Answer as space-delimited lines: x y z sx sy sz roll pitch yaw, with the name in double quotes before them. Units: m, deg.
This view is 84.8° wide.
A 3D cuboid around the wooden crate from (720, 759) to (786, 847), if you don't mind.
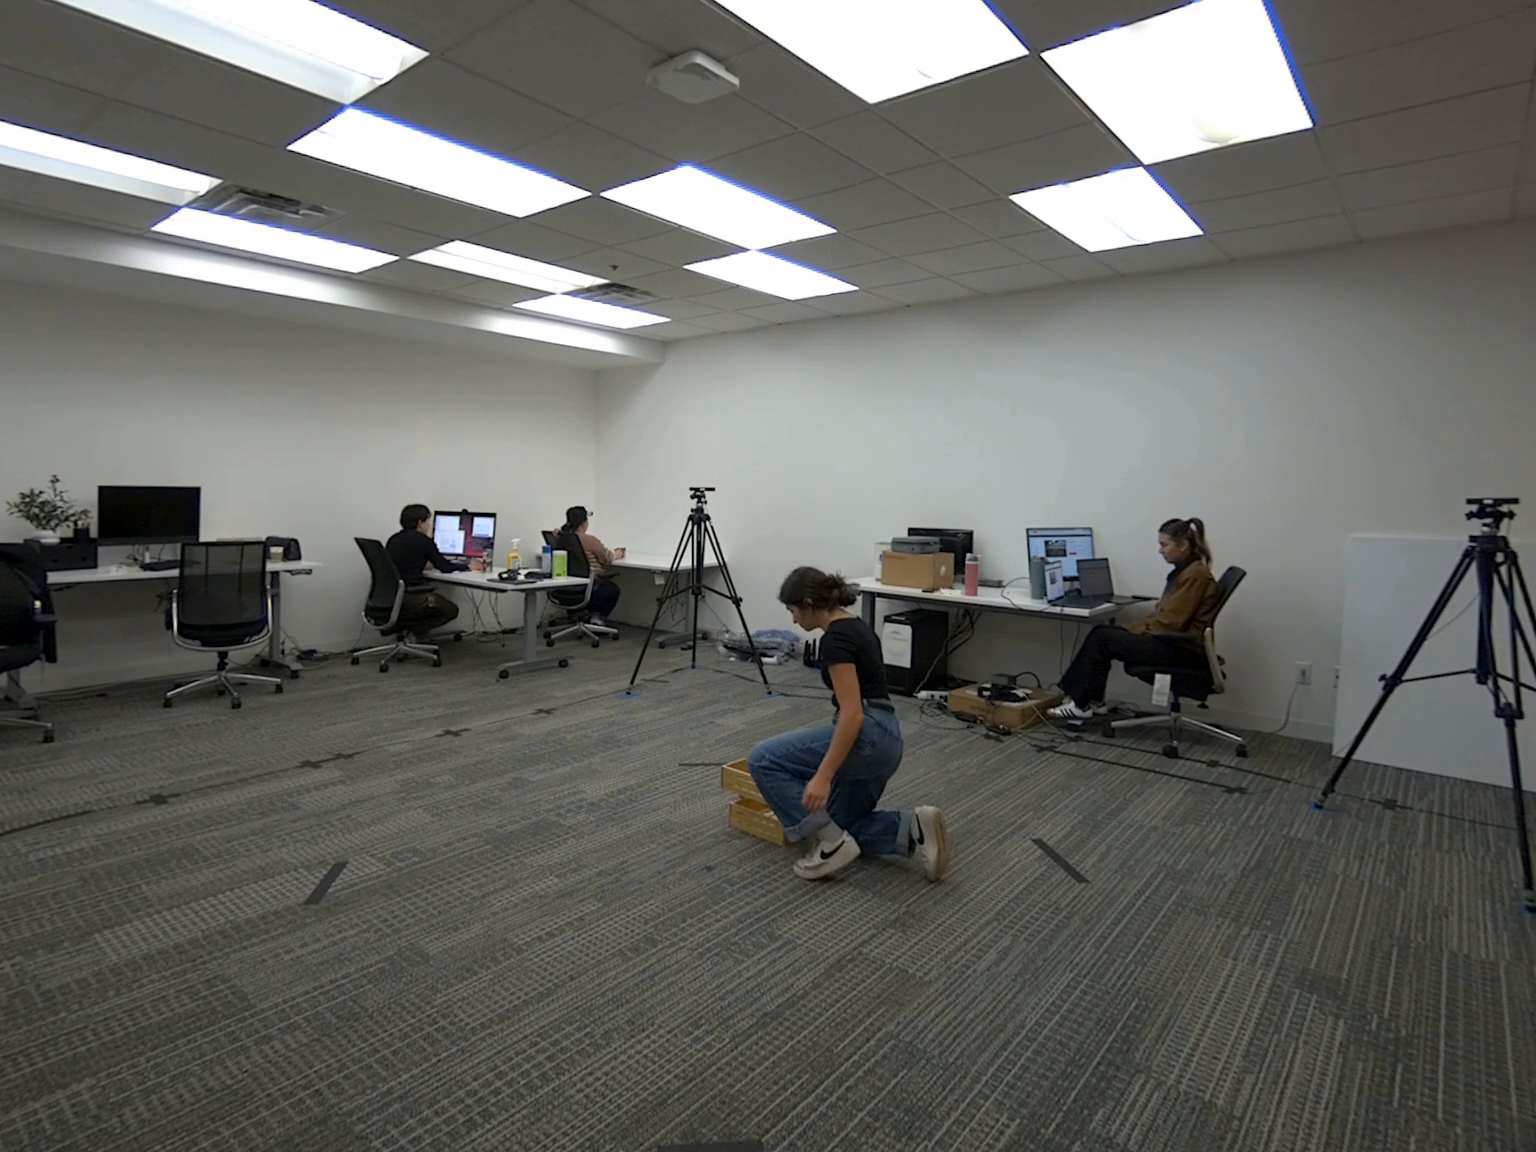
"wooden crate" 0.009 0.901 3.479 0.336 0.272 0.293 6 6 43
